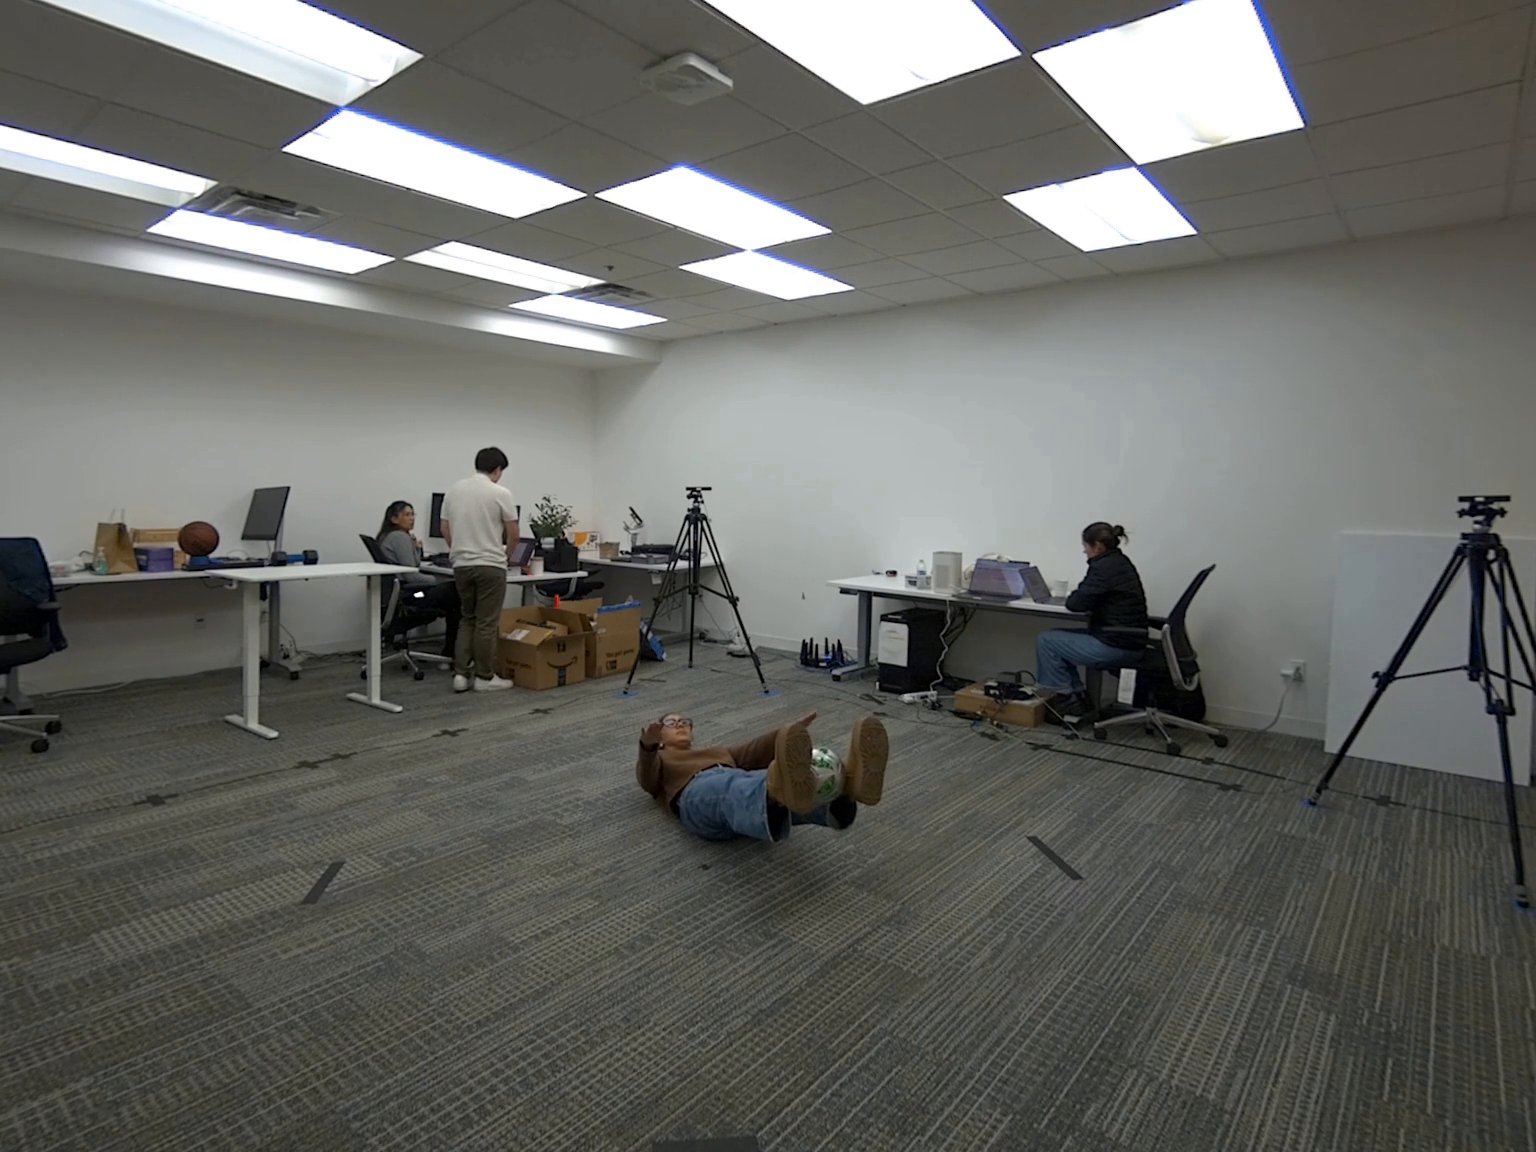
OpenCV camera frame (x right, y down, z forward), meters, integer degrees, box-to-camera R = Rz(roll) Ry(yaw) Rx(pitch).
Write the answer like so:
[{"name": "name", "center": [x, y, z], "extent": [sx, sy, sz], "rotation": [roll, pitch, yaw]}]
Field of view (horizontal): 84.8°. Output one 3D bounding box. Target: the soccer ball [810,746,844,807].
[{"name": "soccer ball", "center": [0.162, 0.659, 2.817], "extent": [0.187, 0.187, 0.188], "rotation": [1, 4, -2]}]
